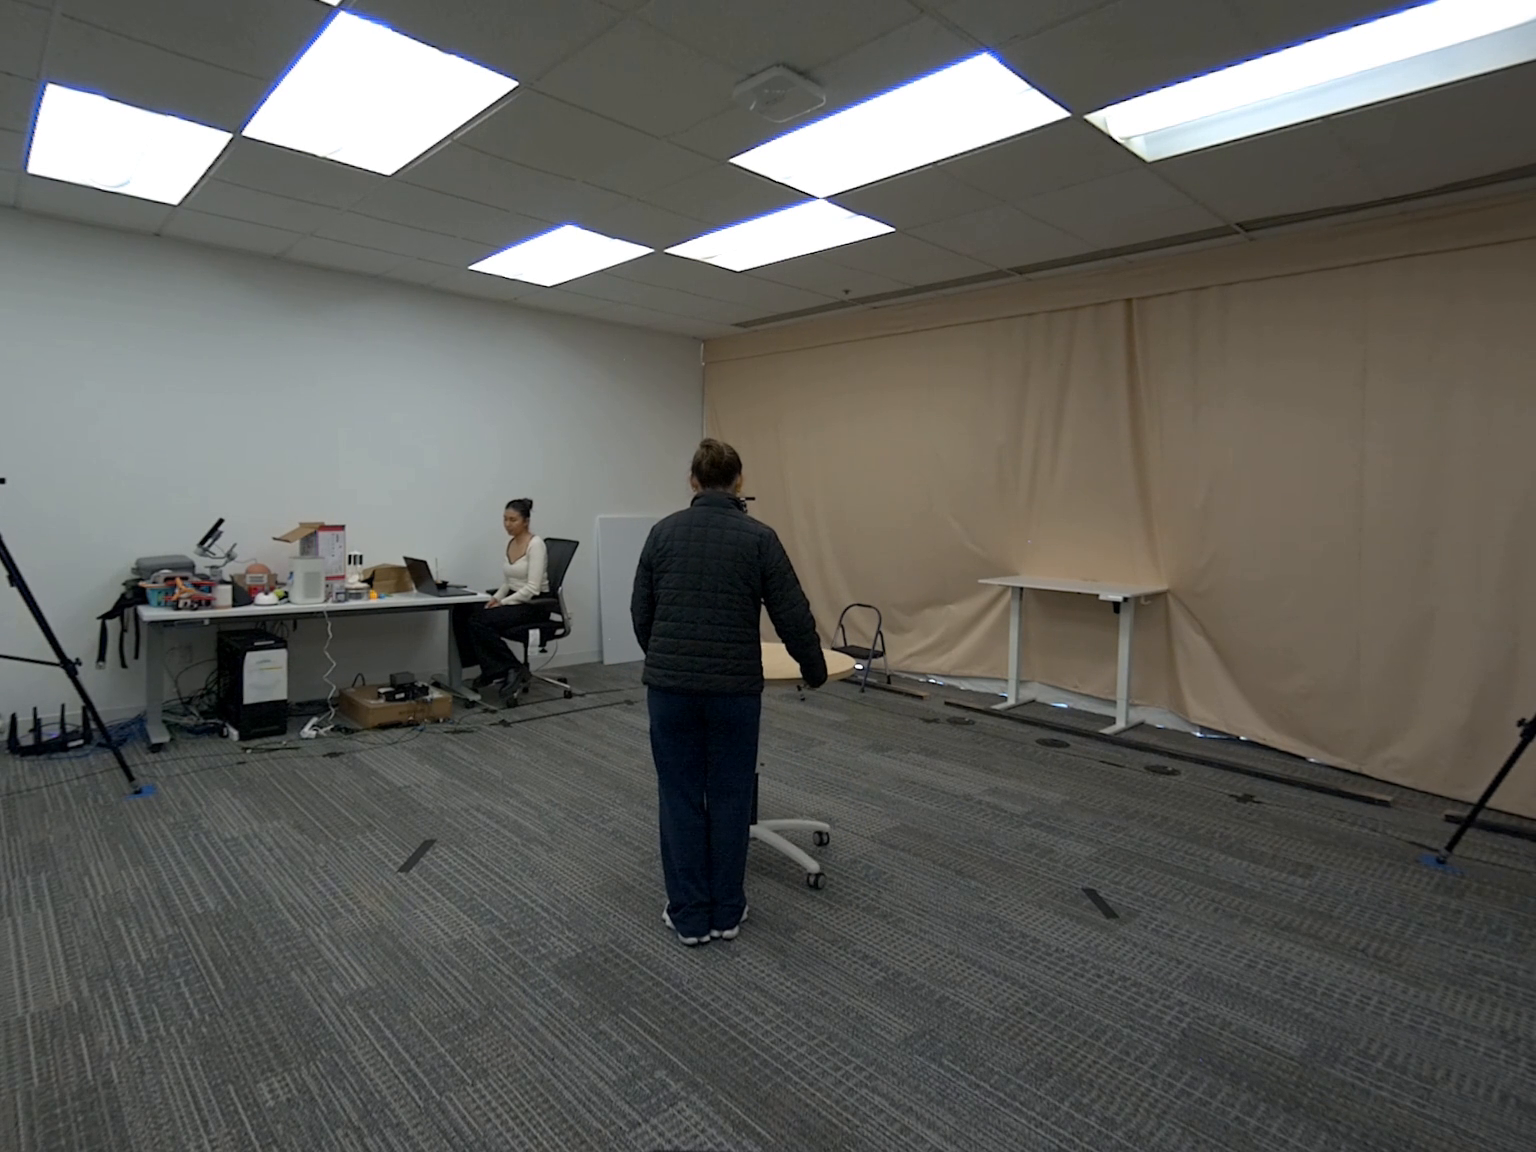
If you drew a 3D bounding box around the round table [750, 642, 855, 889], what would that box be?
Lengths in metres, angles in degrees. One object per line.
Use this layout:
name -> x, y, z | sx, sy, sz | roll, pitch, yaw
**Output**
round table -> -0.059, 0.707, 3.241 | 0.784, 0.784, 0.788 | 1, 4, -1
